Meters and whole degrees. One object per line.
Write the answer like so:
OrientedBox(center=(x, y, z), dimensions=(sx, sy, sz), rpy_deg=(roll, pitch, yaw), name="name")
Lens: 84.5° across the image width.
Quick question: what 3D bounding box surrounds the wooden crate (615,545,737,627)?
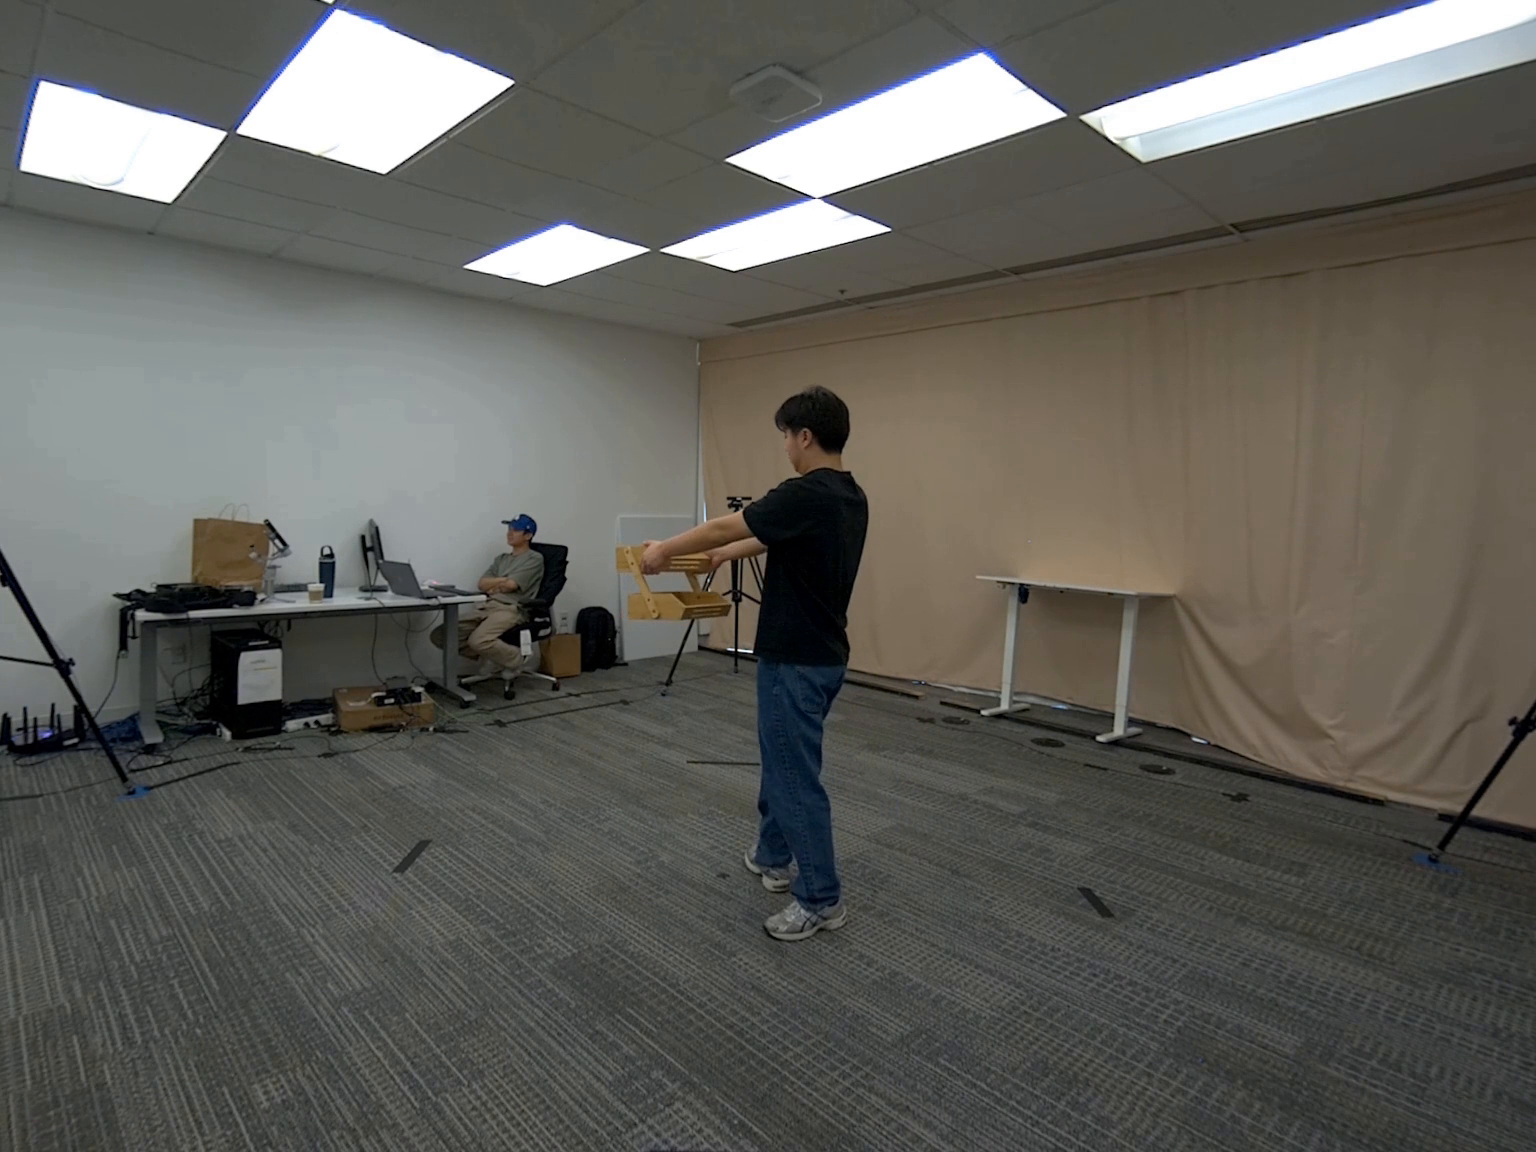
OrientedBox(center=(-0.330, 0.027, 3.052), dimensions=(0.308, 0.273, 0.317), rpy_deg=(0, -1, 31), name="wooden crate")
